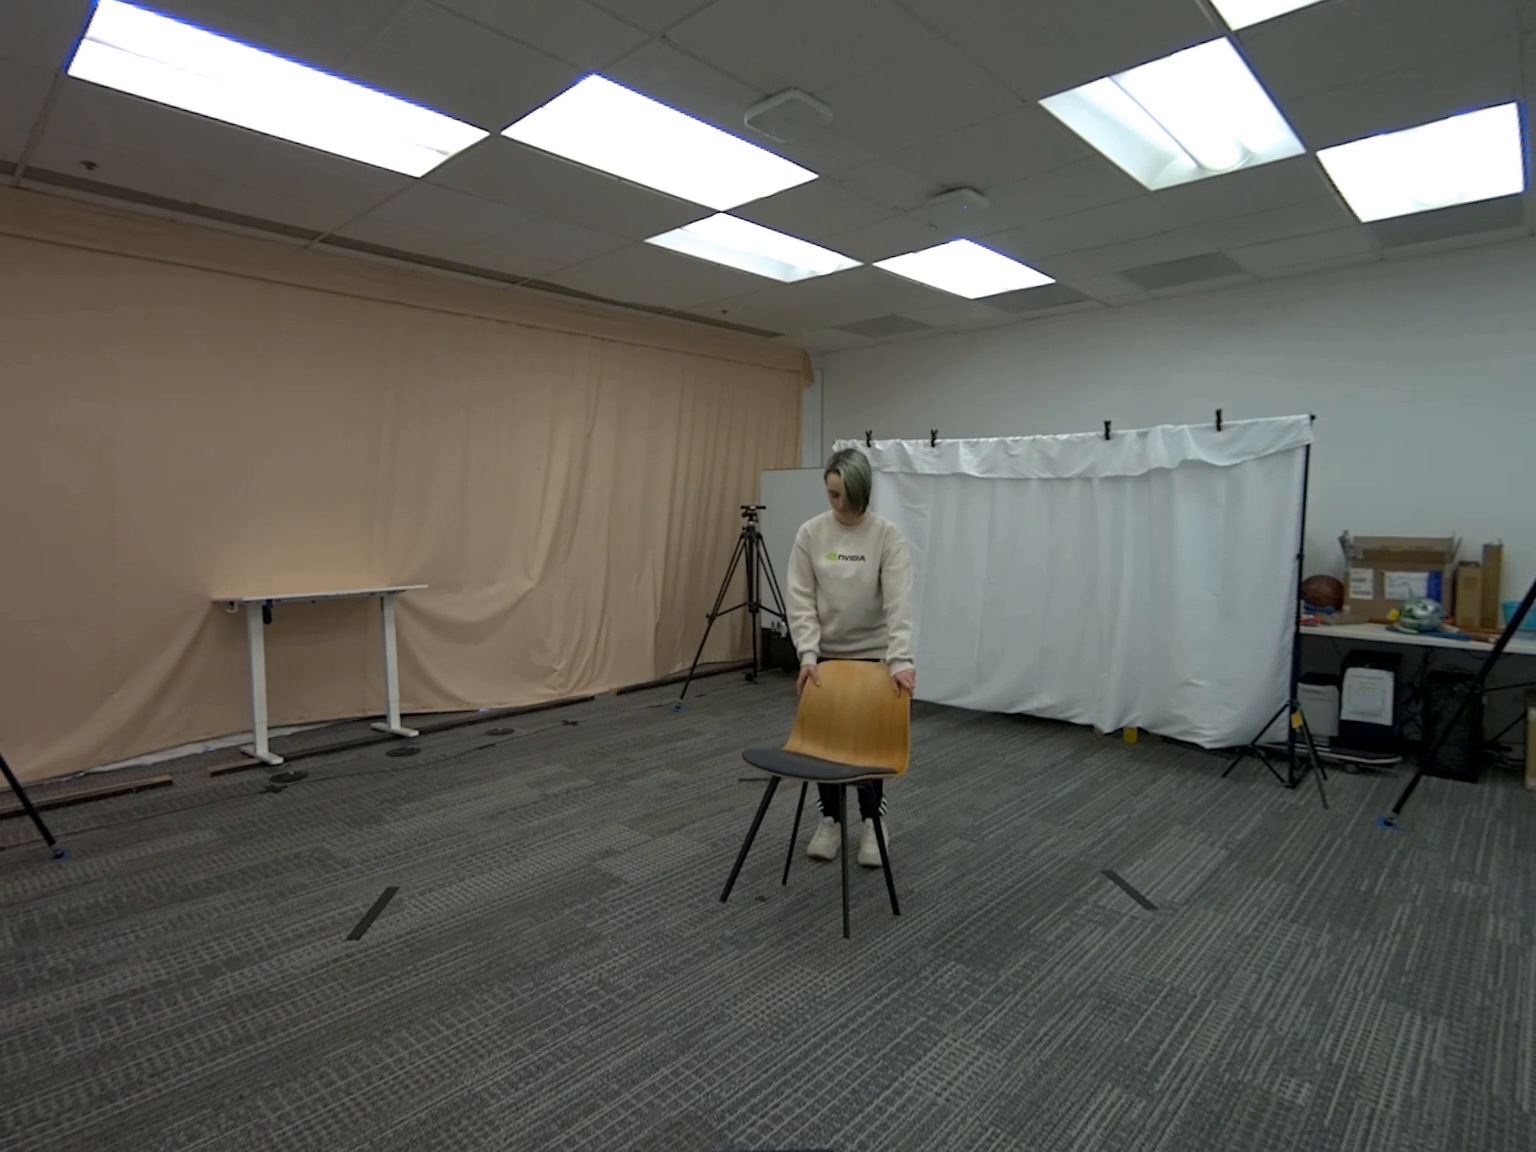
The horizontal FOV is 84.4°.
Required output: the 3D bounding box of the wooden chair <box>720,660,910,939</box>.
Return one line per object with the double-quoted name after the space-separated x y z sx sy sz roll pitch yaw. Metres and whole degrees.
0.192 0.680 2.845 0.492 0.882 0.505 2 -14 31 "wooden chair"
